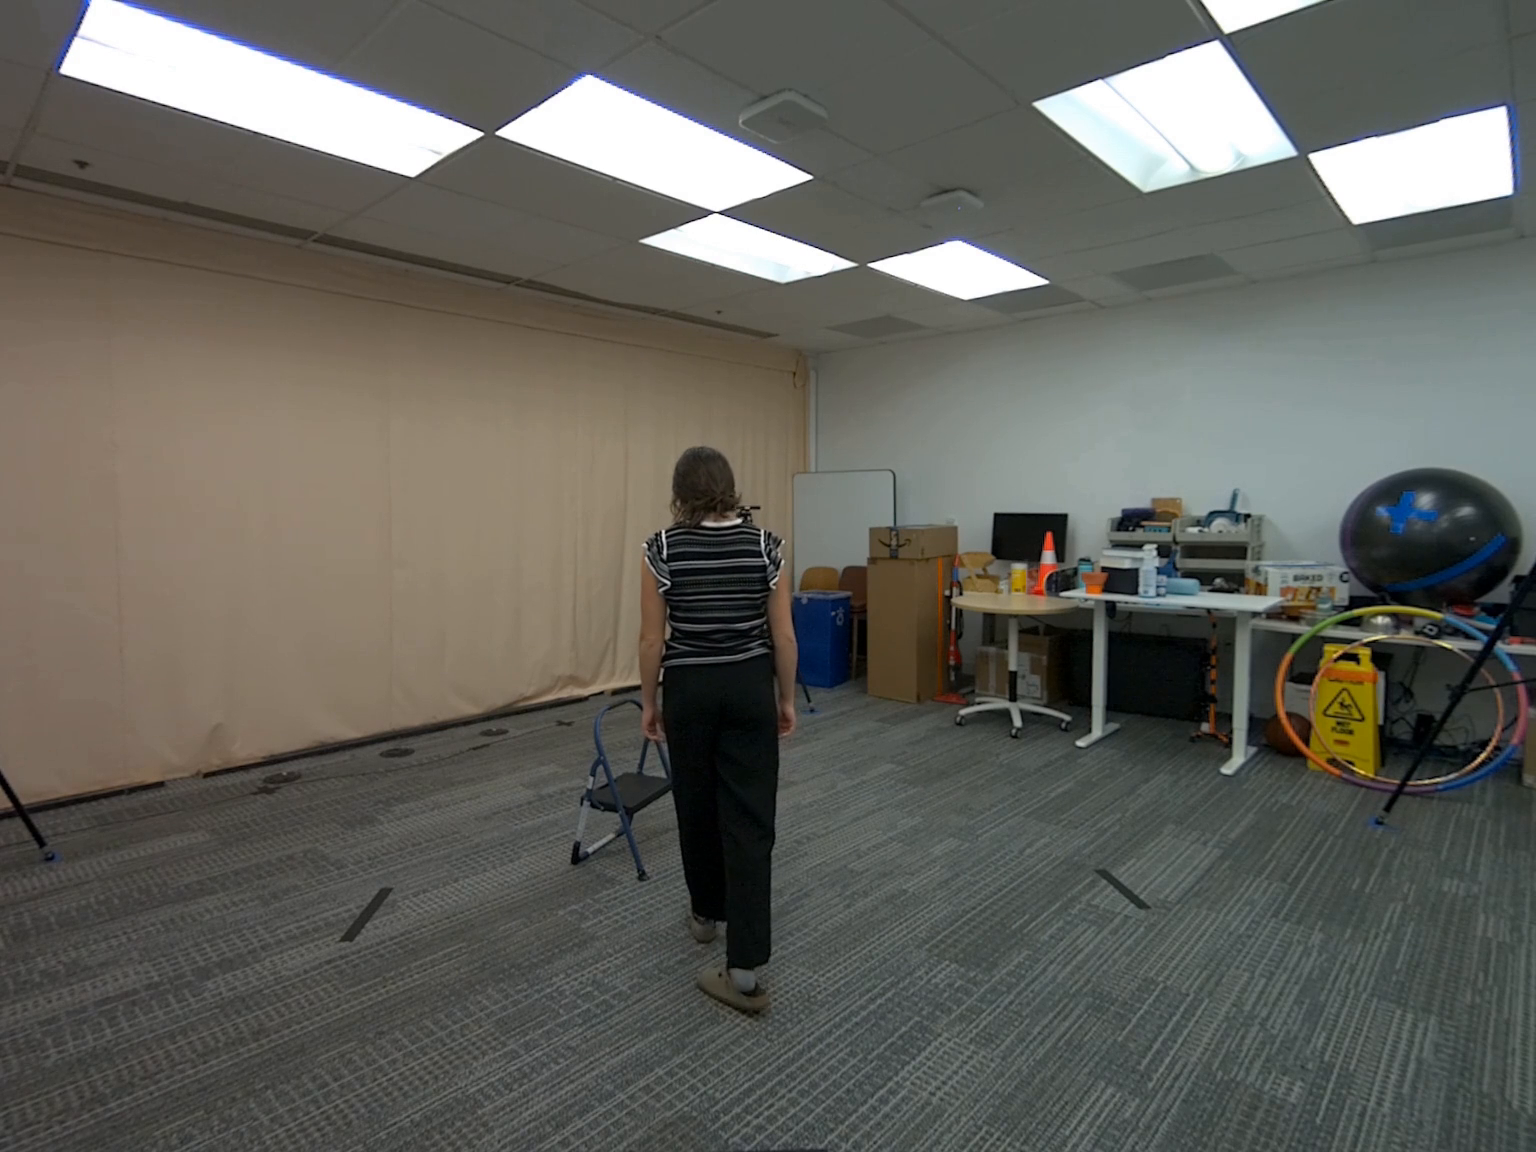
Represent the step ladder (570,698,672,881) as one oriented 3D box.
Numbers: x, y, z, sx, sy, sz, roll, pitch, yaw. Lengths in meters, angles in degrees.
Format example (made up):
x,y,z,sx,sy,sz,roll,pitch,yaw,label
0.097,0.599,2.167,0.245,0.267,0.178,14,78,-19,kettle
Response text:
x,y,z,sx,sy,sz,roll,pitch,yaw,label
-0.536,0.814,3.382,0.358,0.605,0.421,1,4,23,step ladder
